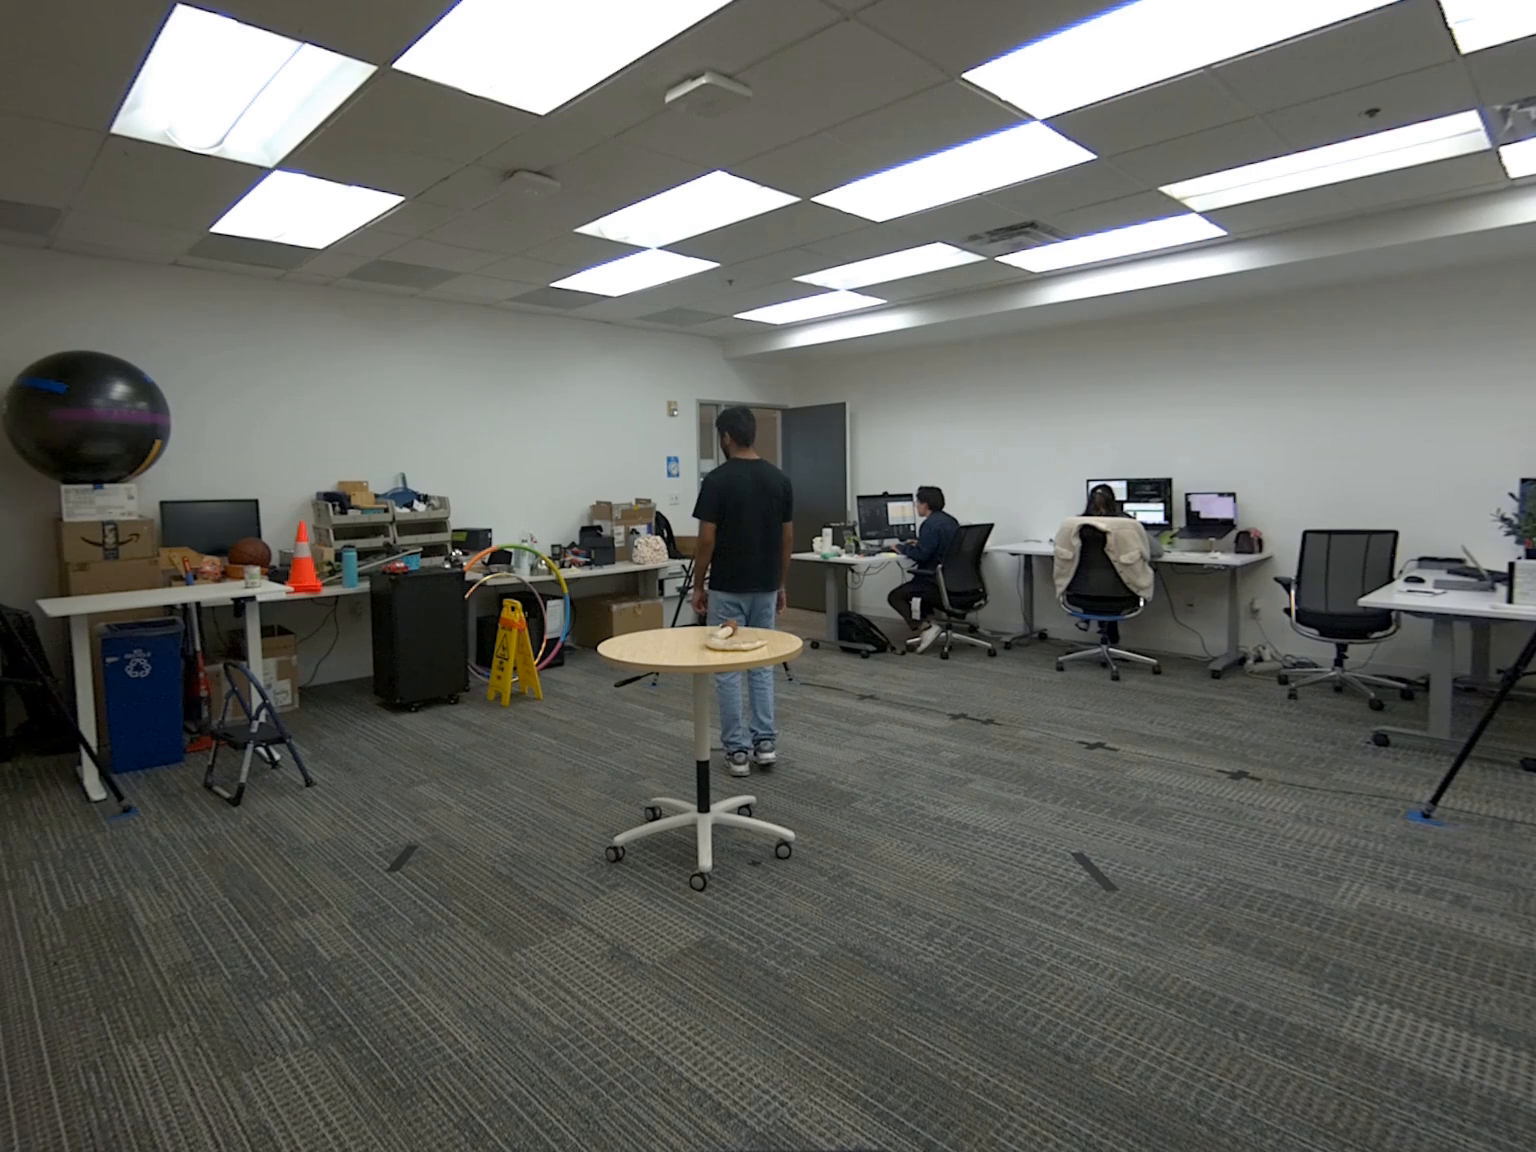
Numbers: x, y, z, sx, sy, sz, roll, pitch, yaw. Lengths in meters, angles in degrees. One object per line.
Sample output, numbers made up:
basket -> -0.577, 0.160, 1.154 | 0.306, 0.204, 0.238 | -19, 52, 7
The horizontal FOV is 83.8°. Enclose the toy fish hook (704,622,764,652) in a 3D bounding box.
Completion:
toy fish hook -> -0.114, 0.232, 3.280 | 0.226, 0.048, 0.506 | 7, 8, 4
